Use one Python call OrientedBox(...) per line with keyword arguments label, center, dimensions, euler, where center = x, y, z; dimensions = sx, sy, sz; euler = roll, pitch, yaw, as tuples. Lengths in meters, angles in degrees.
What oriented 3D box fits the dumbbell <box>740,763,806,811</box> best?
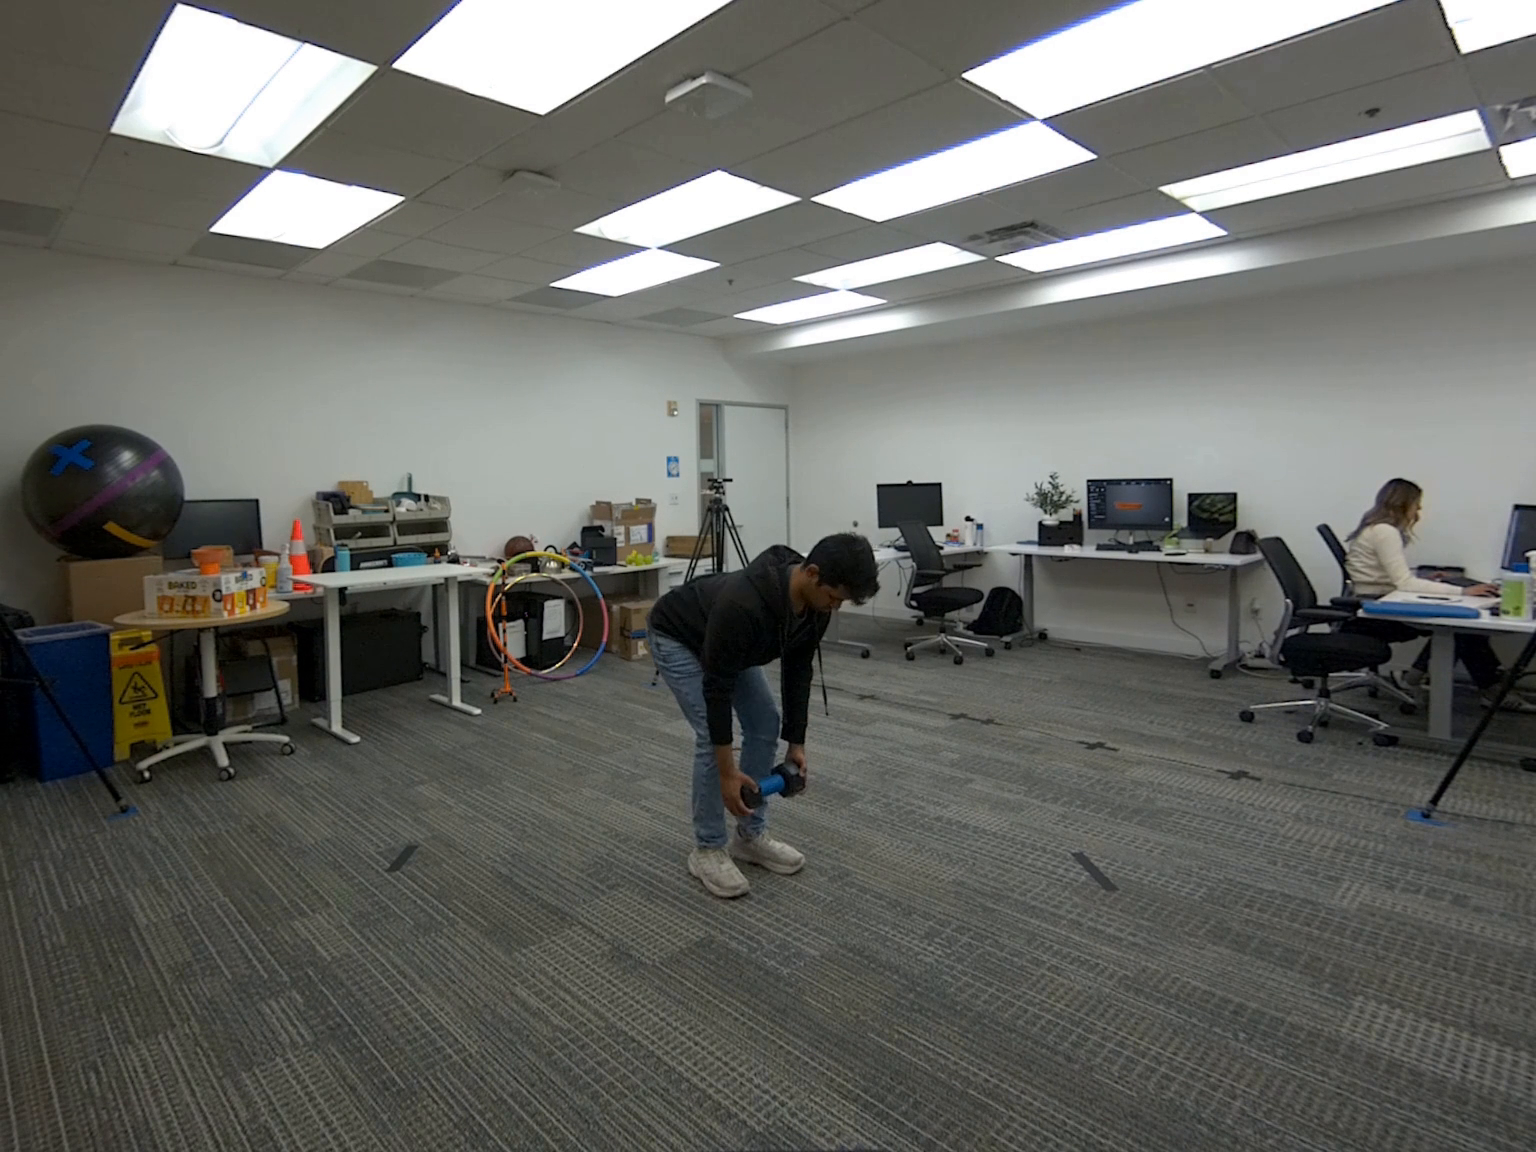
OrientedBox(label="dumbbell", center=(-0.008, 0.723, 2.925), dimensions=(0.286, 0.111, 0.123), euler=(-9, -21, -45))
